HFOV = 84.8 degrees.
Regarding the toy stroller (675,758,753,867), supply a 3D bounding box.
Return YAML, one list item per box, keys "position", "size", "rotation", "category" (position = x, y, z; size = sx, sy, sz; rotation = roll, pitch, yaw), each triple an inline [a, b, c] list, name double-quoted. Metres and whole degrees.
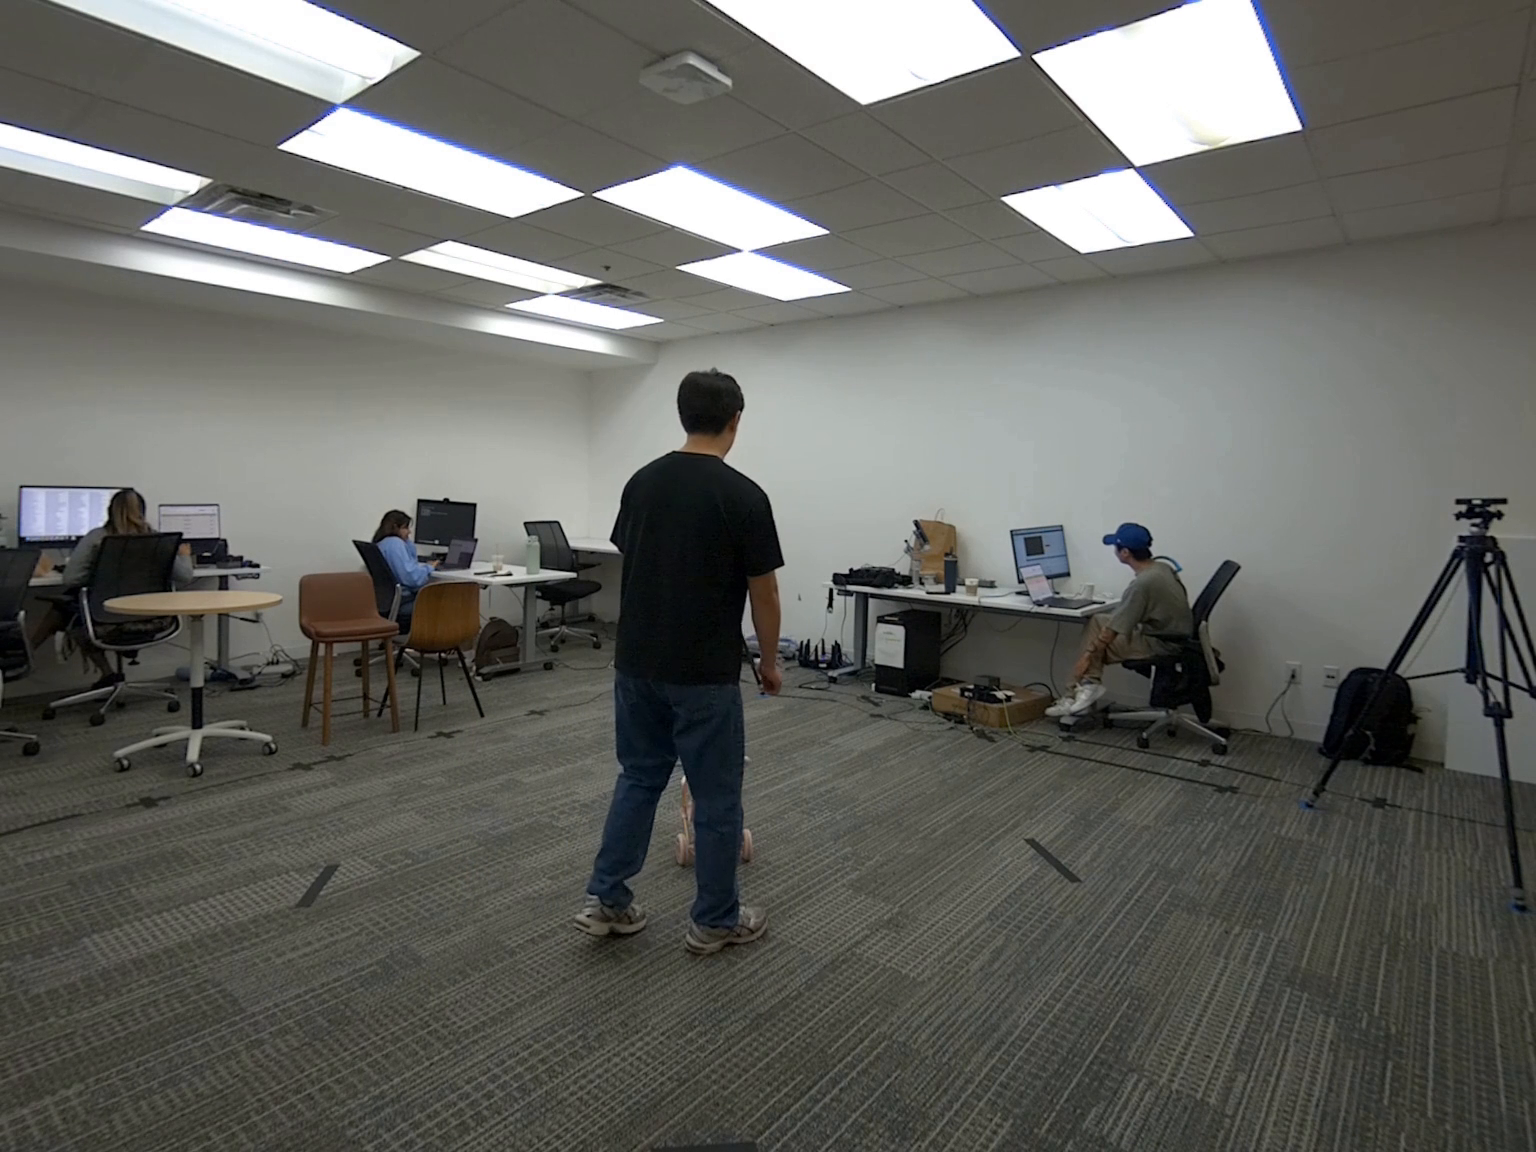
- position: [-0.220, 0.826, 3.235]
  size: [0.279, 0.527, 0.350]
  rotation: [1, 18, -10]
  category: "toy stroller"
